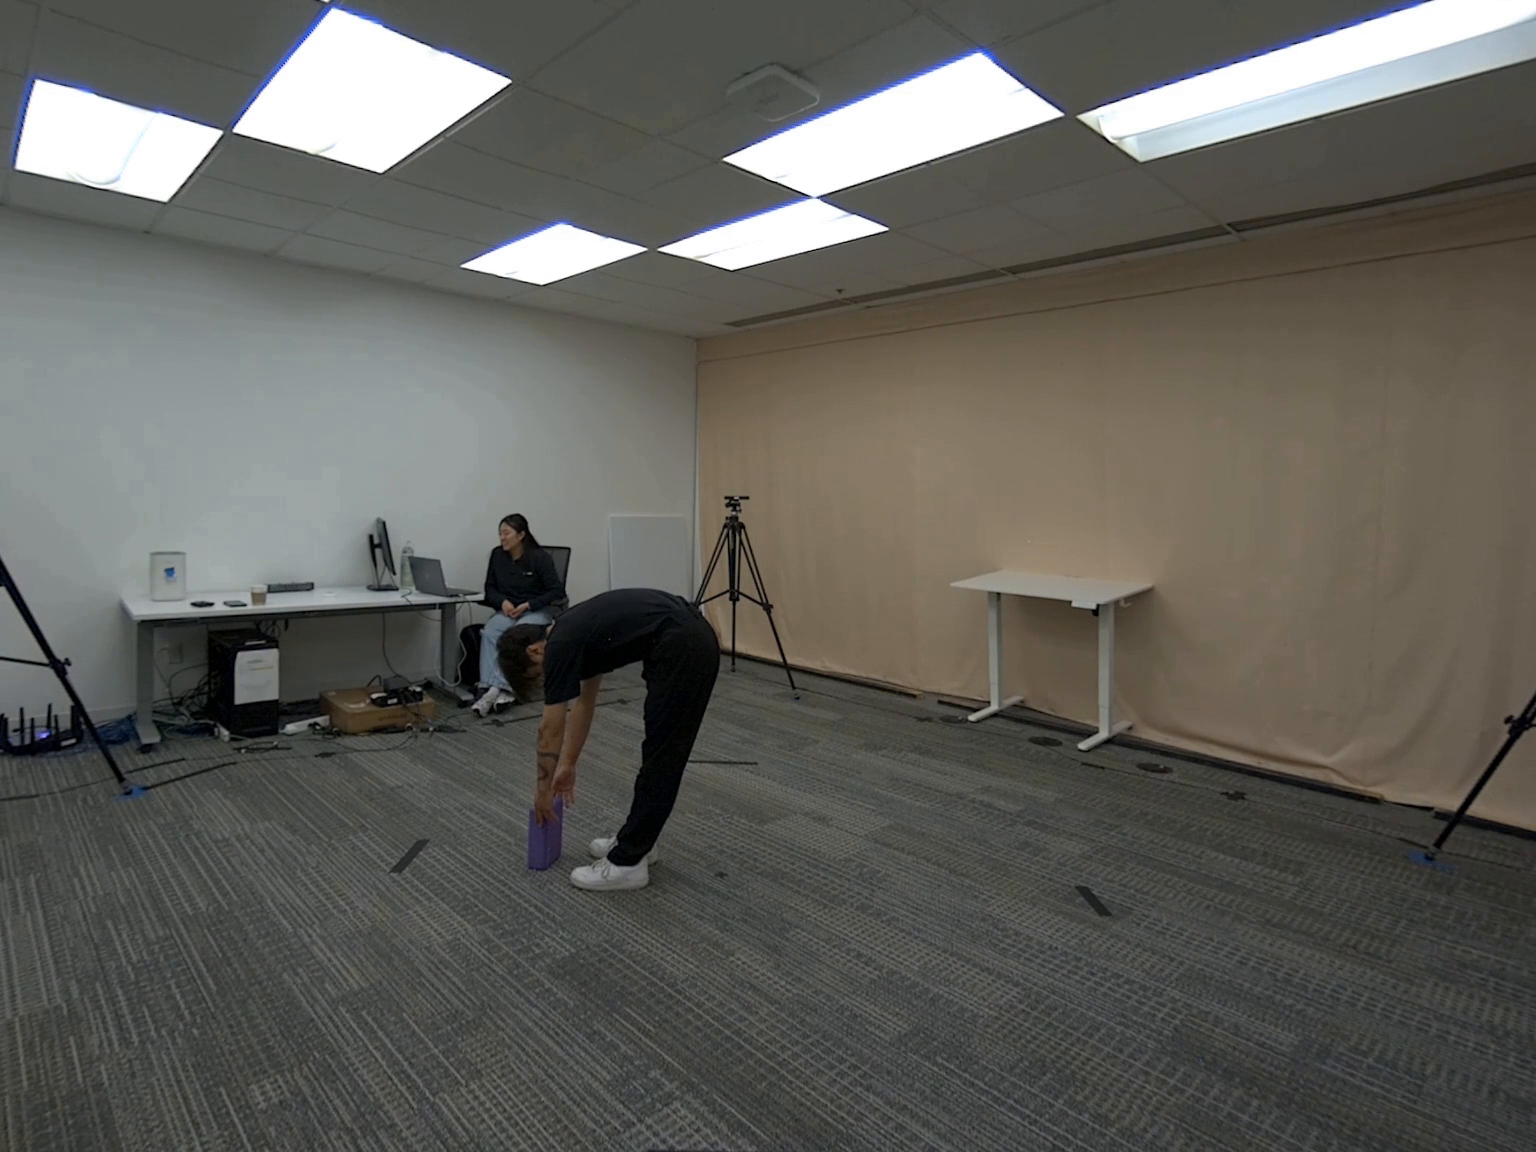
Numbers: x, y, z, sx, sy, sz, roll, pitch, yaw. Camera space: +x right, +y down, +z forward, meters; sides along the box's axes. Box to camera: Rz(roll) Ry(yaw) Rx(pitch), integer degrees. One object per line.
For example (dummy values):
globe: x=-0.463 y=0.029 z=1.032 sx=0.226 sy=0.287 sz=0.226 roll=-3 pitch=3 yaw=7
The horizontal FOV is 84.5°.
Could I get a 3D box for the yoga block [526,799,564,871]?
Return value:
yoga block: x=-0.838 y=0.963 z=3.172 sx=0.077 sy=0.229 sz=0.148 roll=1 pitch=3 yaw=10
